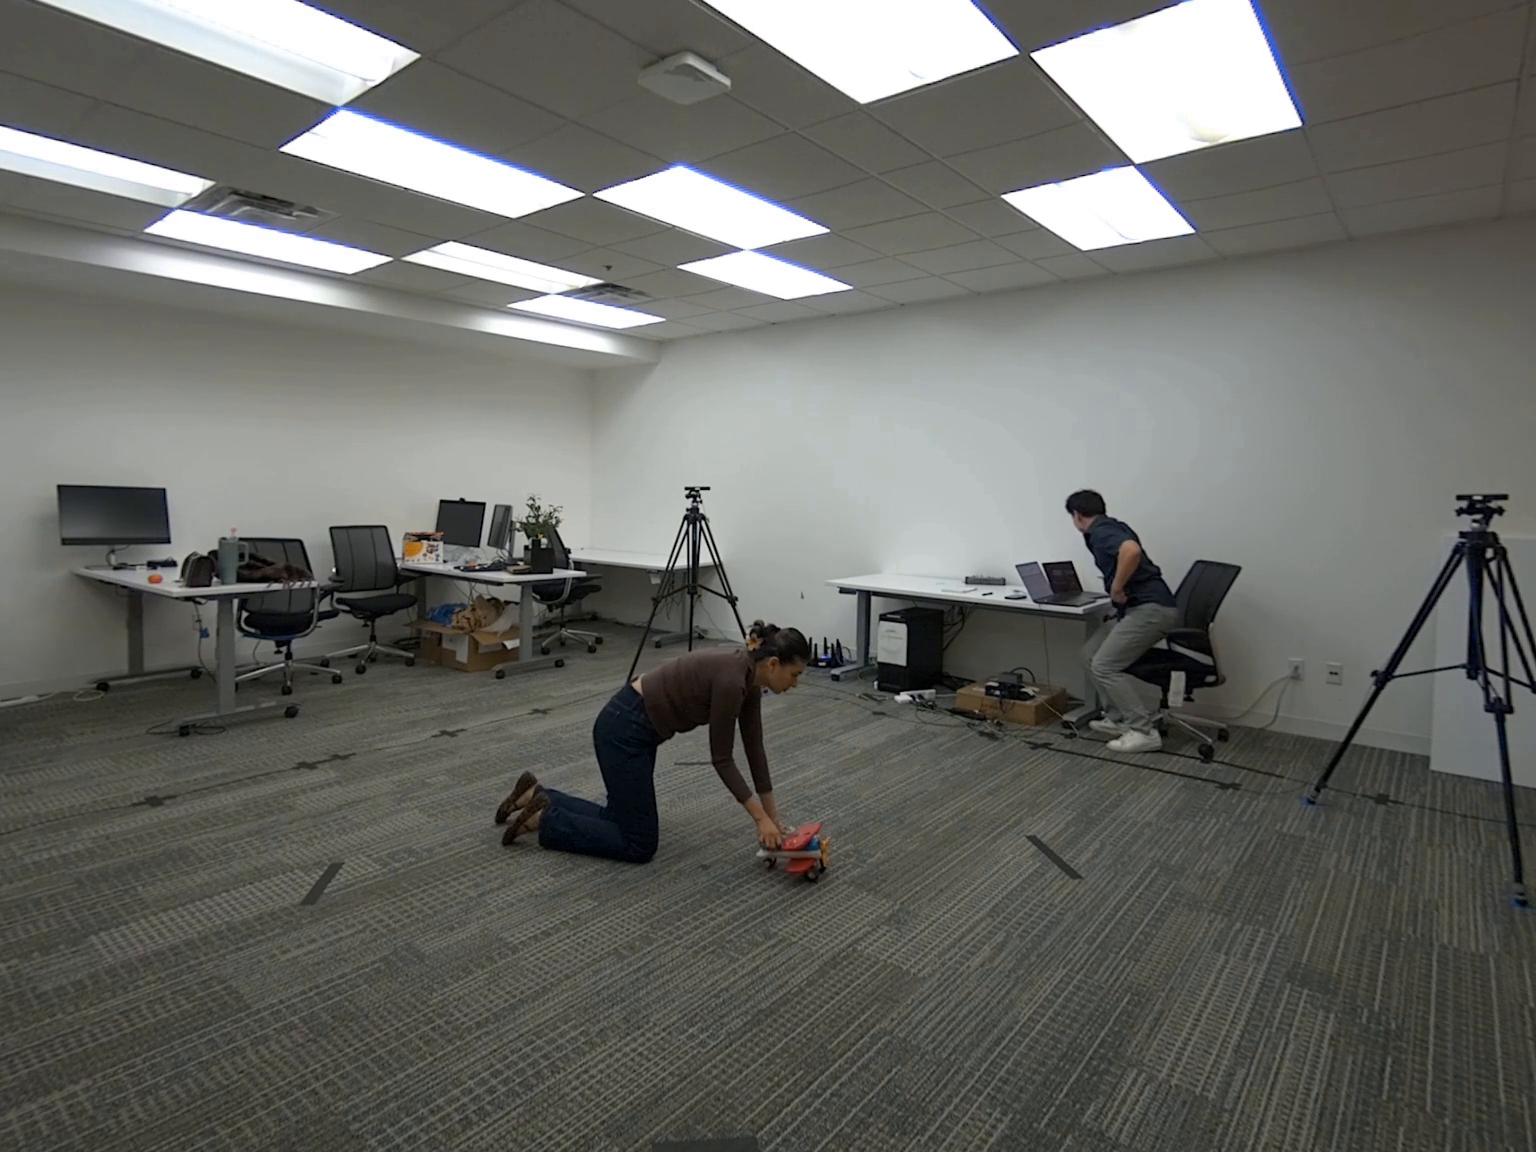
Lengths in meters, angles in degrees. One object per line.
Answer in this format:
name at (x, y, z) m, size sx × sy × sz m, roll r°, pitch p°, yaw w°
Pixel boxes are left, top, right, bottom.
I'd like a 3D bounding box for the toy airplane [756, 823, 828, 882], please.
toy airplane at (0.083, 0.997, 3.072) m, size 0.258 × 0.156 × 0.253 m, roll 2°, pitch 4°, yaw -6°
